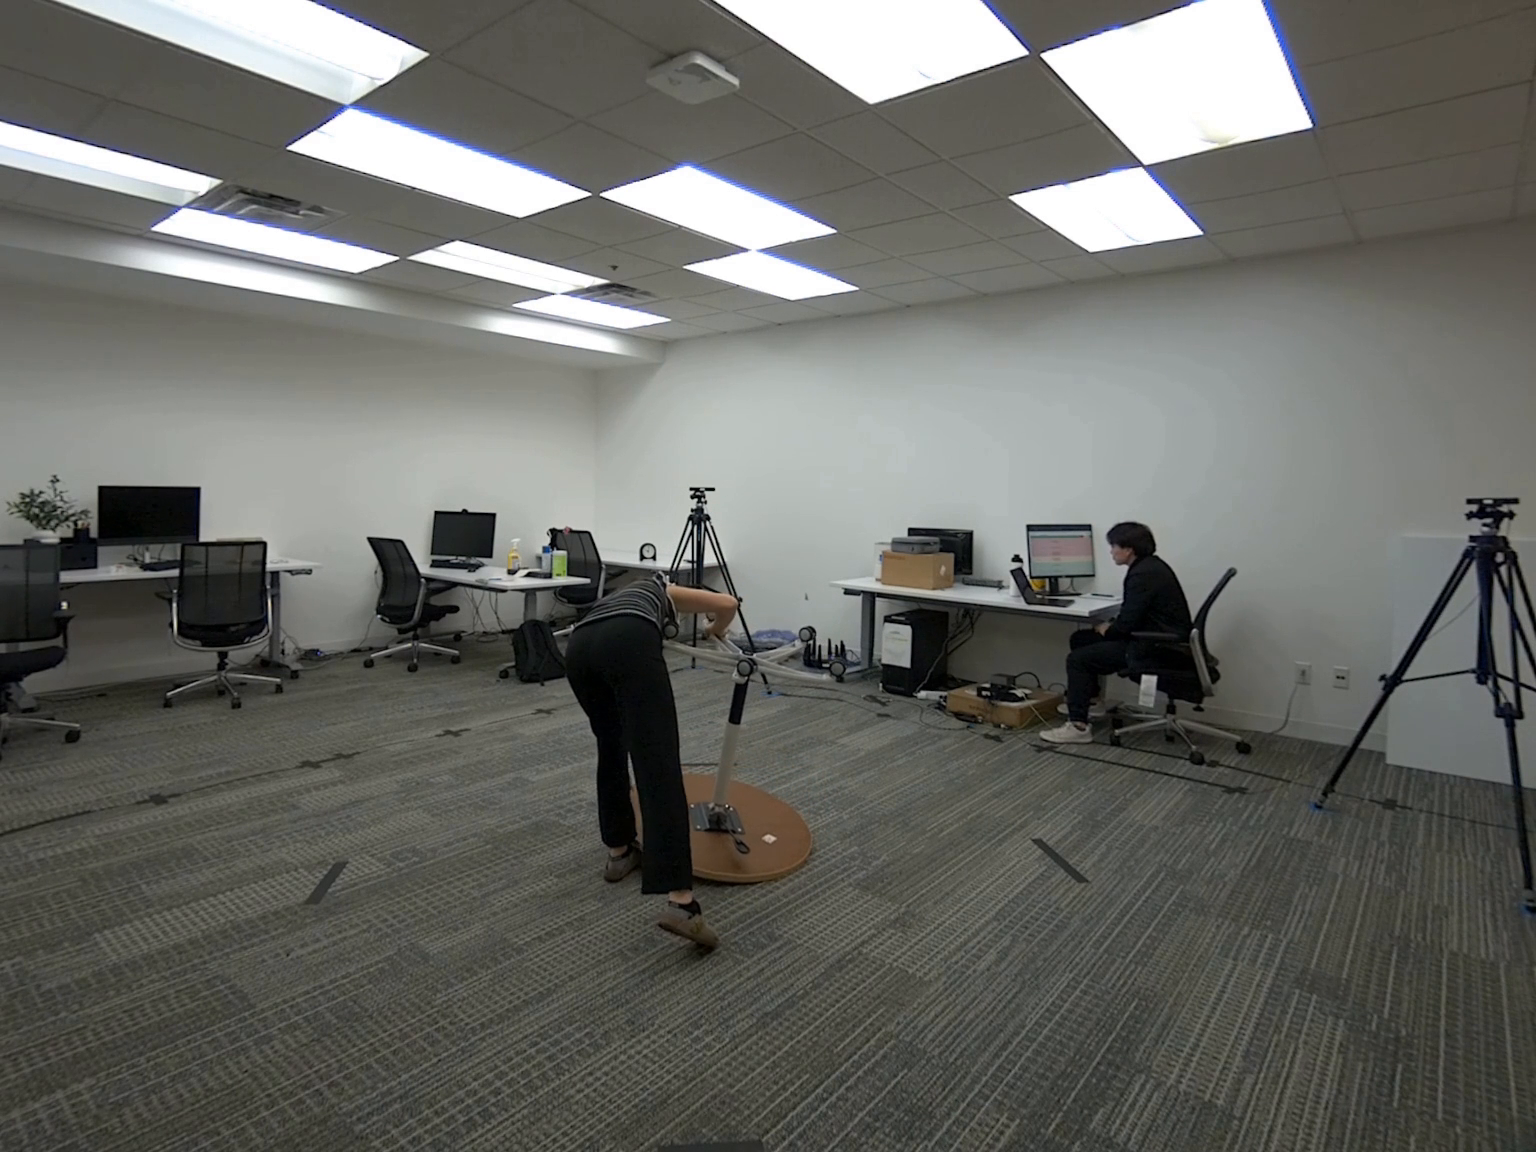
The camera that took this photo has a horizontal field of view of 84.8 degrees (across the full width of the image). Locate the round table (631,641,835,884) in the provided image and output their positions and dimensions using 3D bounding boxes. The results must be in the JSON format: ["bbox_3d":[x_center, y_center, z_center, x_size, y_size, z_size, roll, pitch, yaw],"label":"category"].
[{"bbox_3d":[-0.146,0.595,3.271,0.762,0.788,0.772,10,10,-4],"label":"round table"}]
